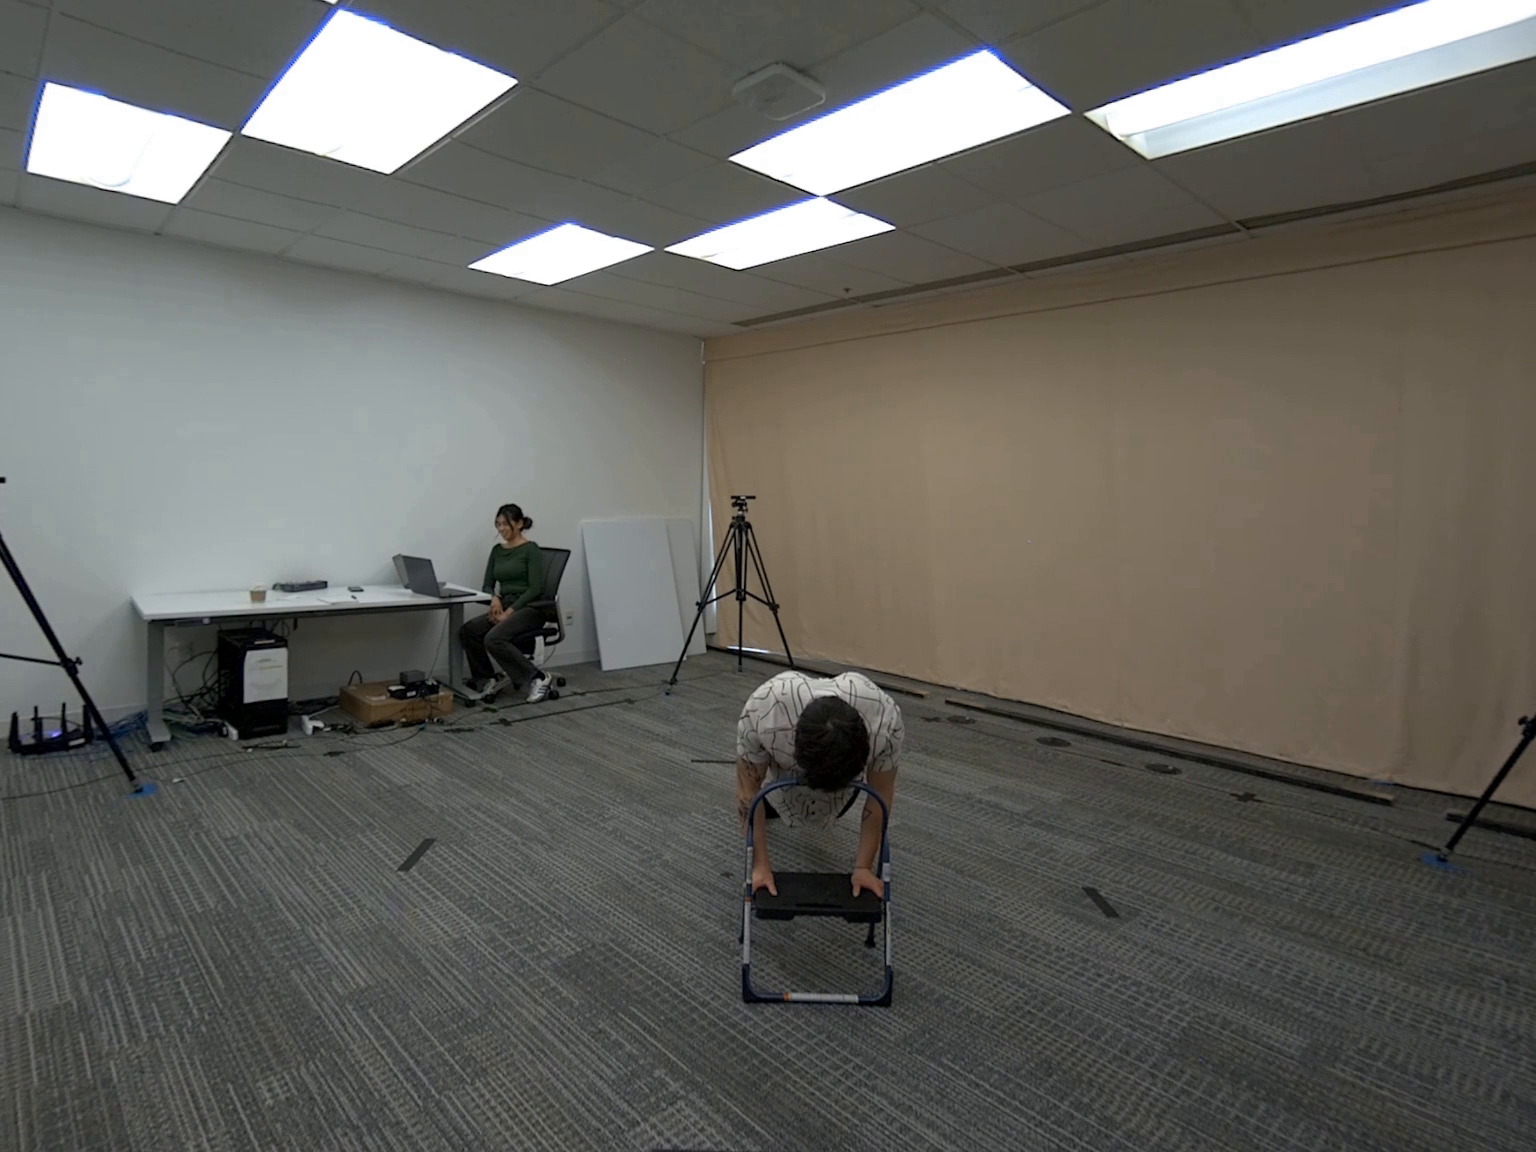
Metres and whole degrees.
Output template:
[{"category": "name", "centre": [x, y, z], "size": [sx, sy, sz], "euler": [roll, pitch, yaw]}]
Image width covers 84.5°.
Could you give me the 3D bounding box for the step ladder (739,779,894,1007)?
[{"category": "step ladder", "centre": [0.129, 0.872, 2.466], "size": [0.430, 0.605, 0.350], "euler": [1, 3, -2]}]
